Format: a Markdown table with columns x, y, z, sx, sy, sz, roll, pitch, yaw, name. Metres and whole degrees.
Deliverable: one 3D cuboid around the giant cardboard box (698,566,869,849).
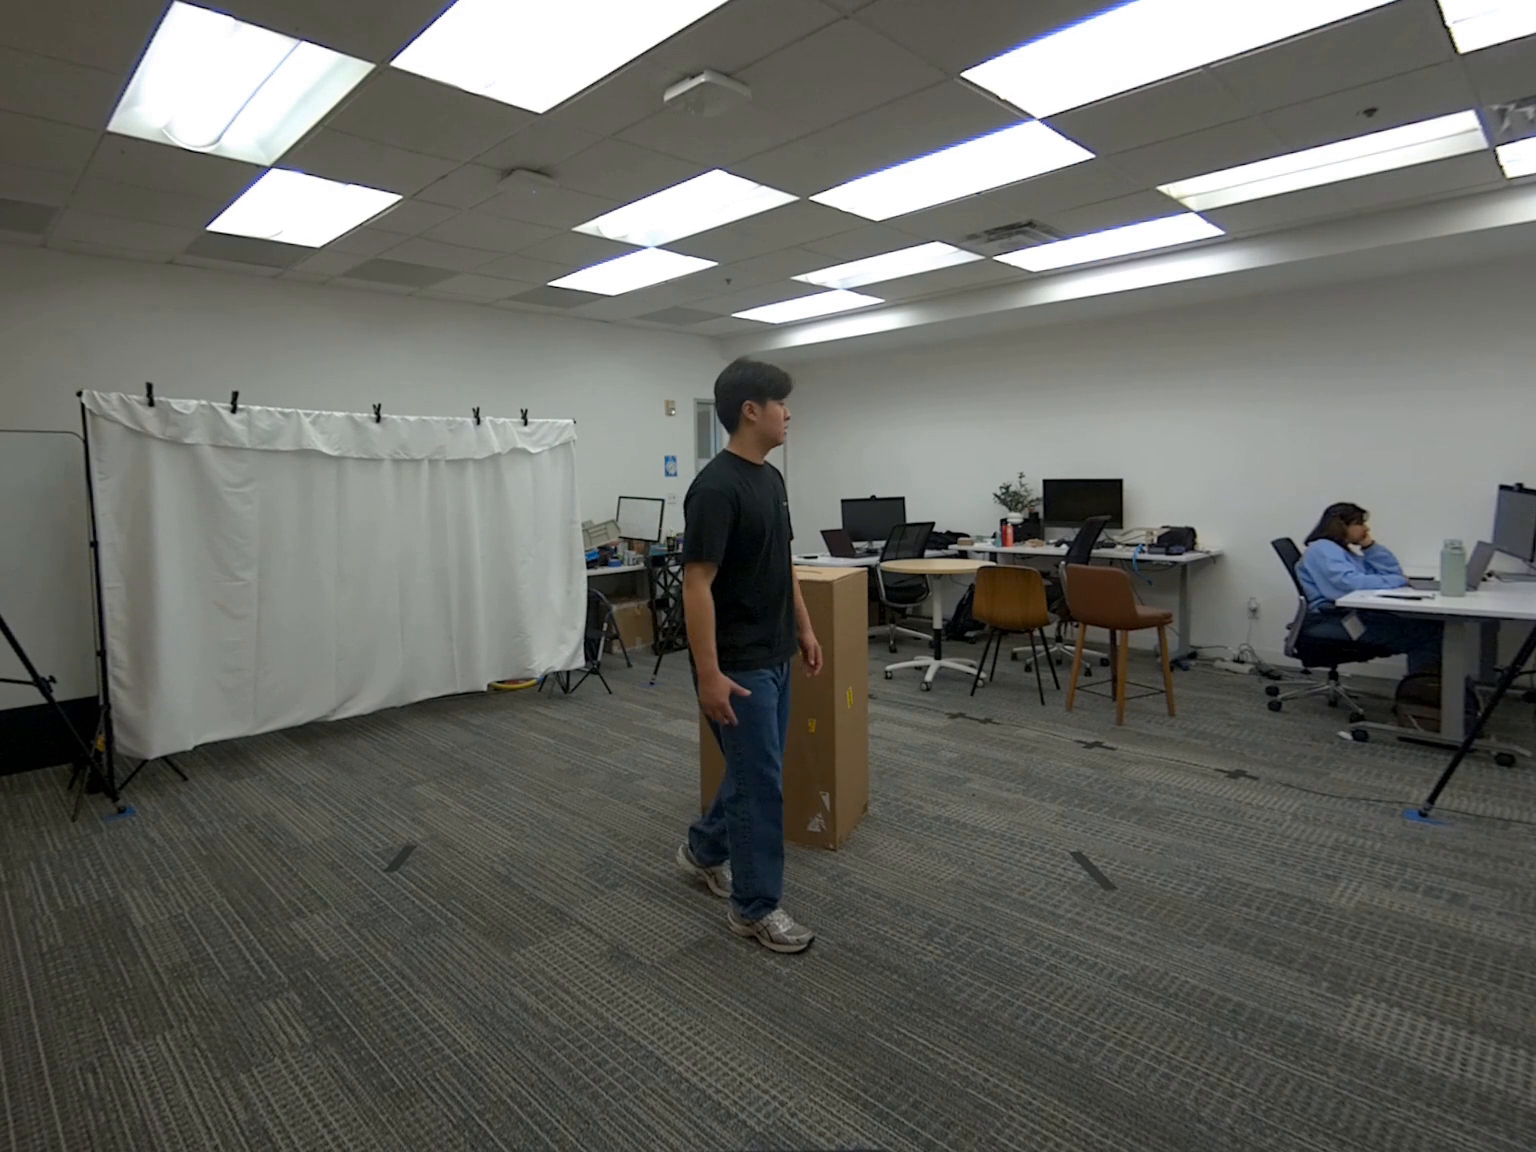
| x | y | z | sx | sy | sz | roll | pitch | yaw | name |
| --- | --- | --- | --- | --- | --- | --- | --- | --- | --- |
| 0.071 | 0.486 | 3.473 | 0.598 | 1.022 | 0.438 | 2 | 5 | 27 | giant cardboard box |
